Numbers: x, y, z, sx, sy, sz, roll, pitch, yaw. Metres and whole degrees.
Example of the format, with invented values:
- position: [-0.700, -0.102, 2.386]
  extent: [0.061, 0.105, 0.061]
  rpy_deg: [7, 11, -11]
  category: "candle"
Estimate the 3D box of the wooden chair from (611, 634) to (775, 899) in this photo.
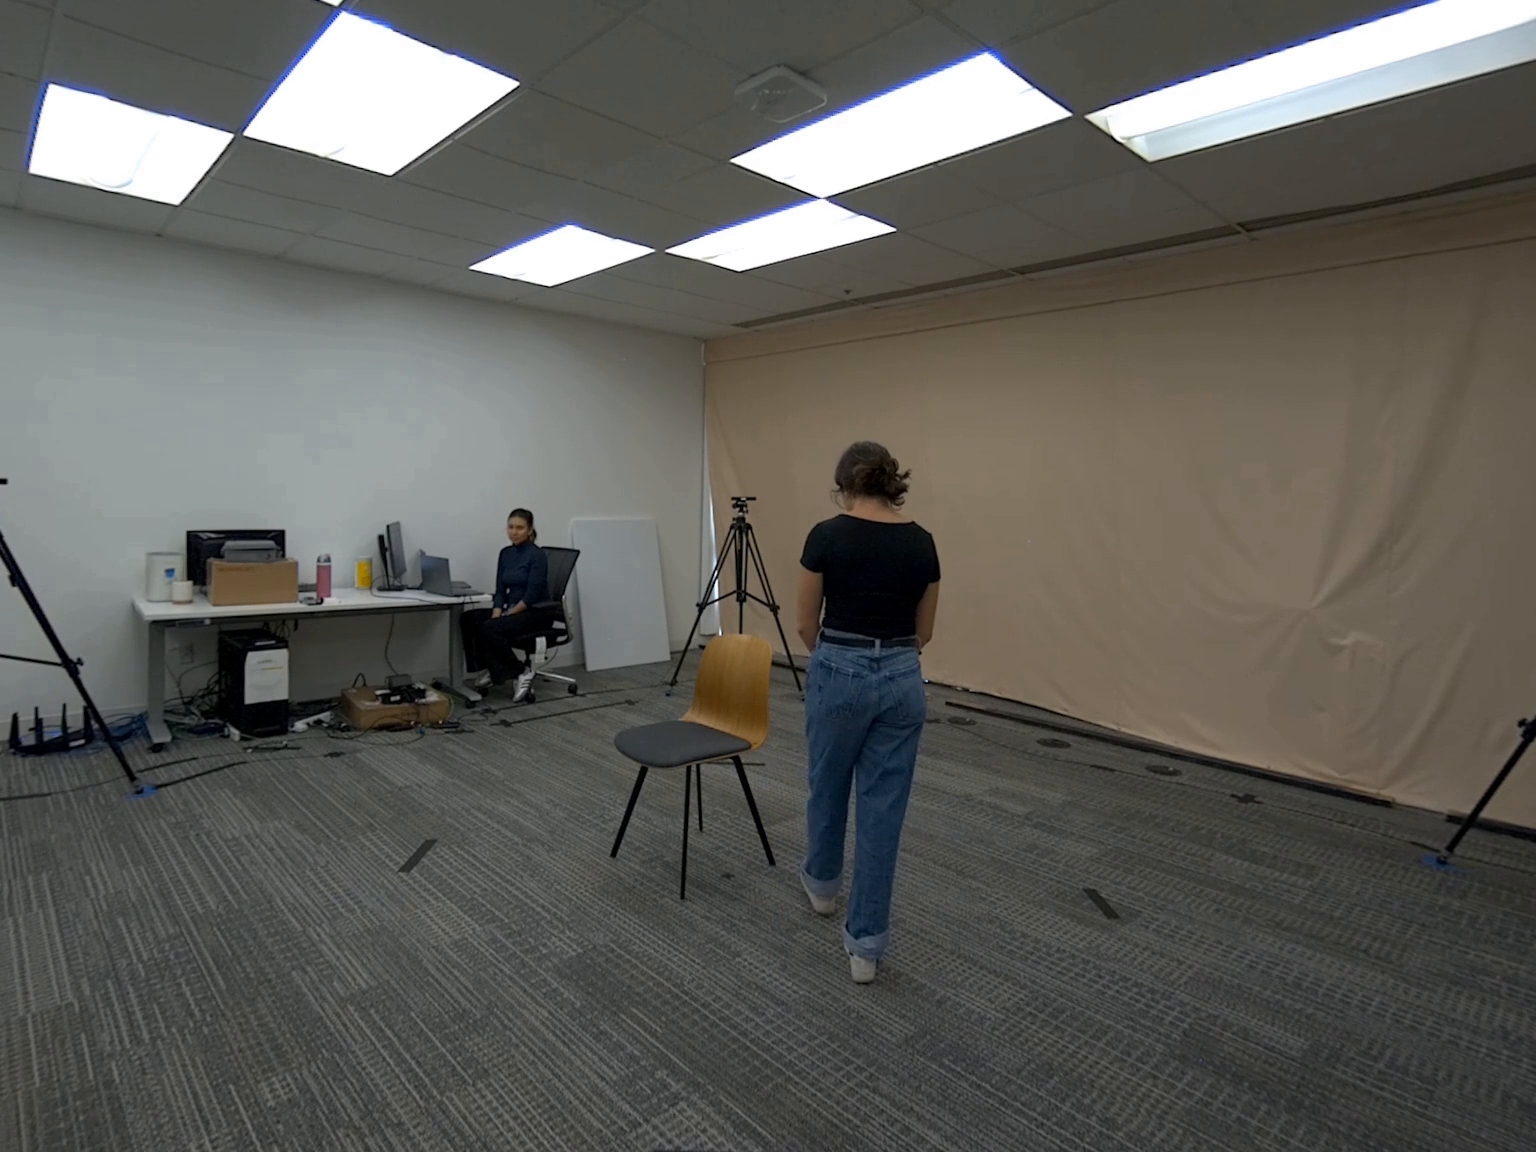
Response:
- position: [-0.290, 0.670, 3.189]
  extent: [0.510, 0.877, 0.490]
  rpy_deg: [4, 0, -43]
  category: "wooden chair"
